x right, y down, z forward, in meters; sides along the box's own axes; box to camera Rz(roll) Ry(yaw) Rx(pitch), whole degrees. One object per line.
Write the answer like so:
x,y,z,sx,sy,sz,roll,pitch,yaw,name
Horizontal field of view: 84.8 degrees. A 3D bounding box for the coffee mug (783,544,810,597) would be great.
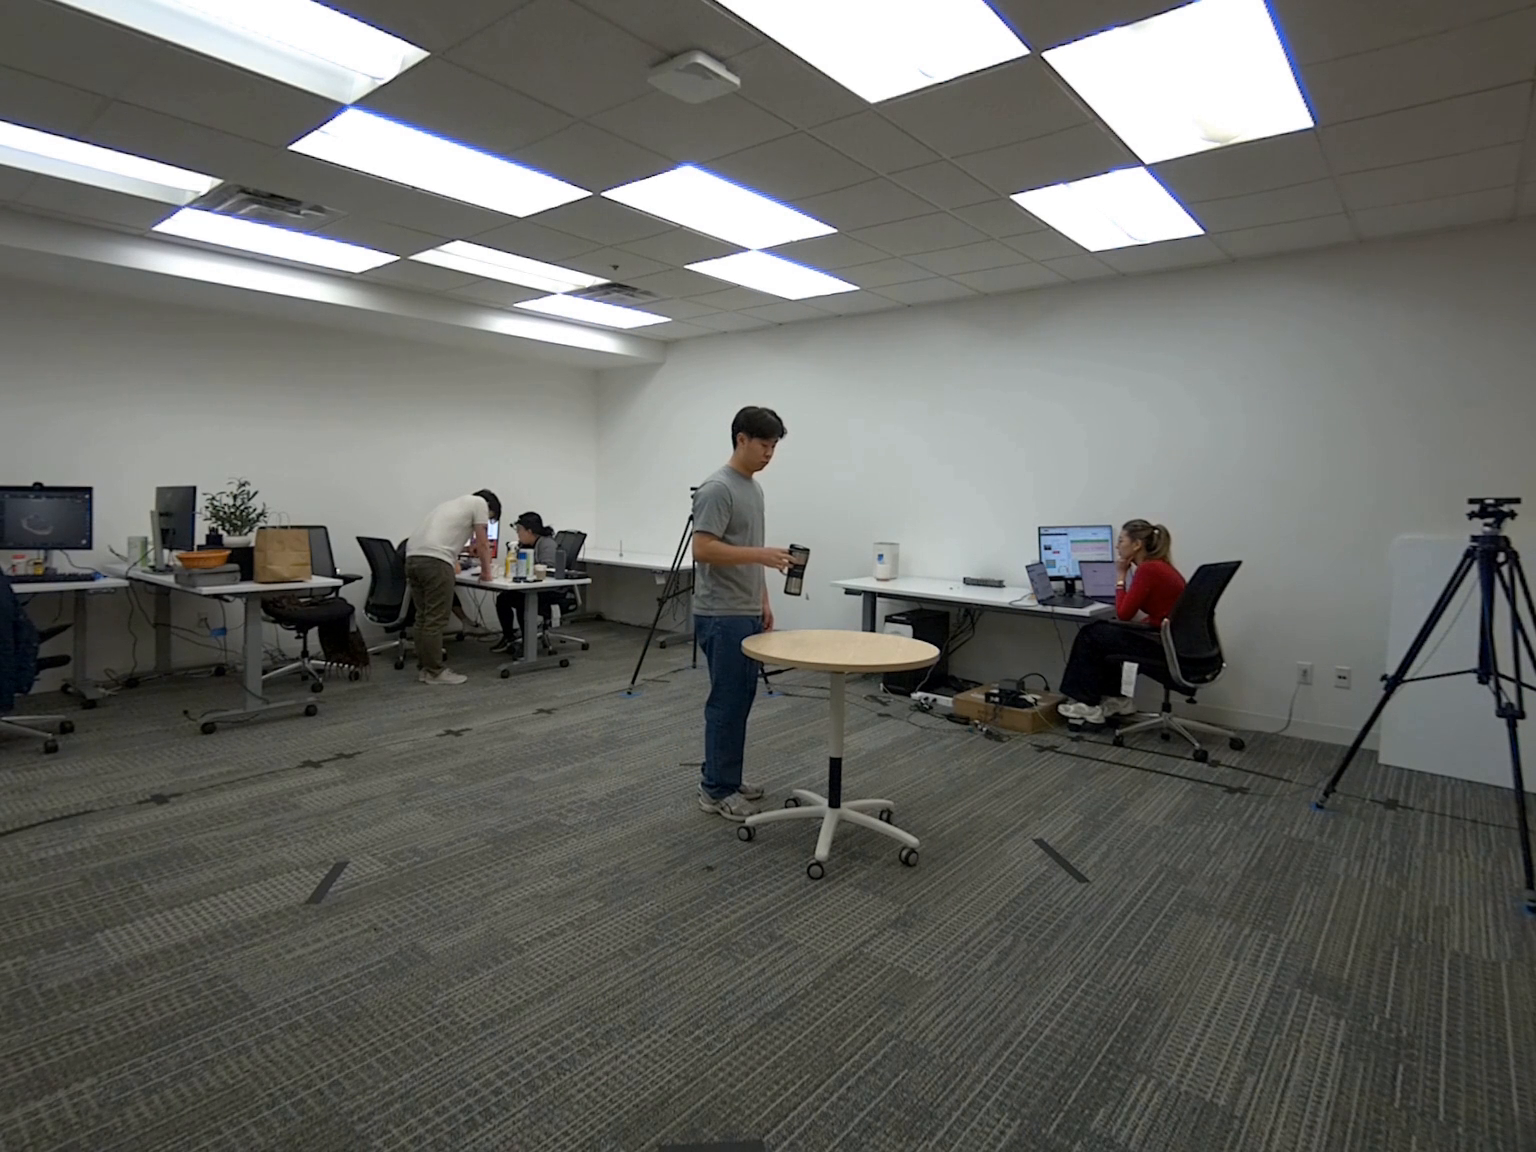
0.098,-0.030,3.527,0.085,0.202,0.127,3,9,-44,coffee mug
